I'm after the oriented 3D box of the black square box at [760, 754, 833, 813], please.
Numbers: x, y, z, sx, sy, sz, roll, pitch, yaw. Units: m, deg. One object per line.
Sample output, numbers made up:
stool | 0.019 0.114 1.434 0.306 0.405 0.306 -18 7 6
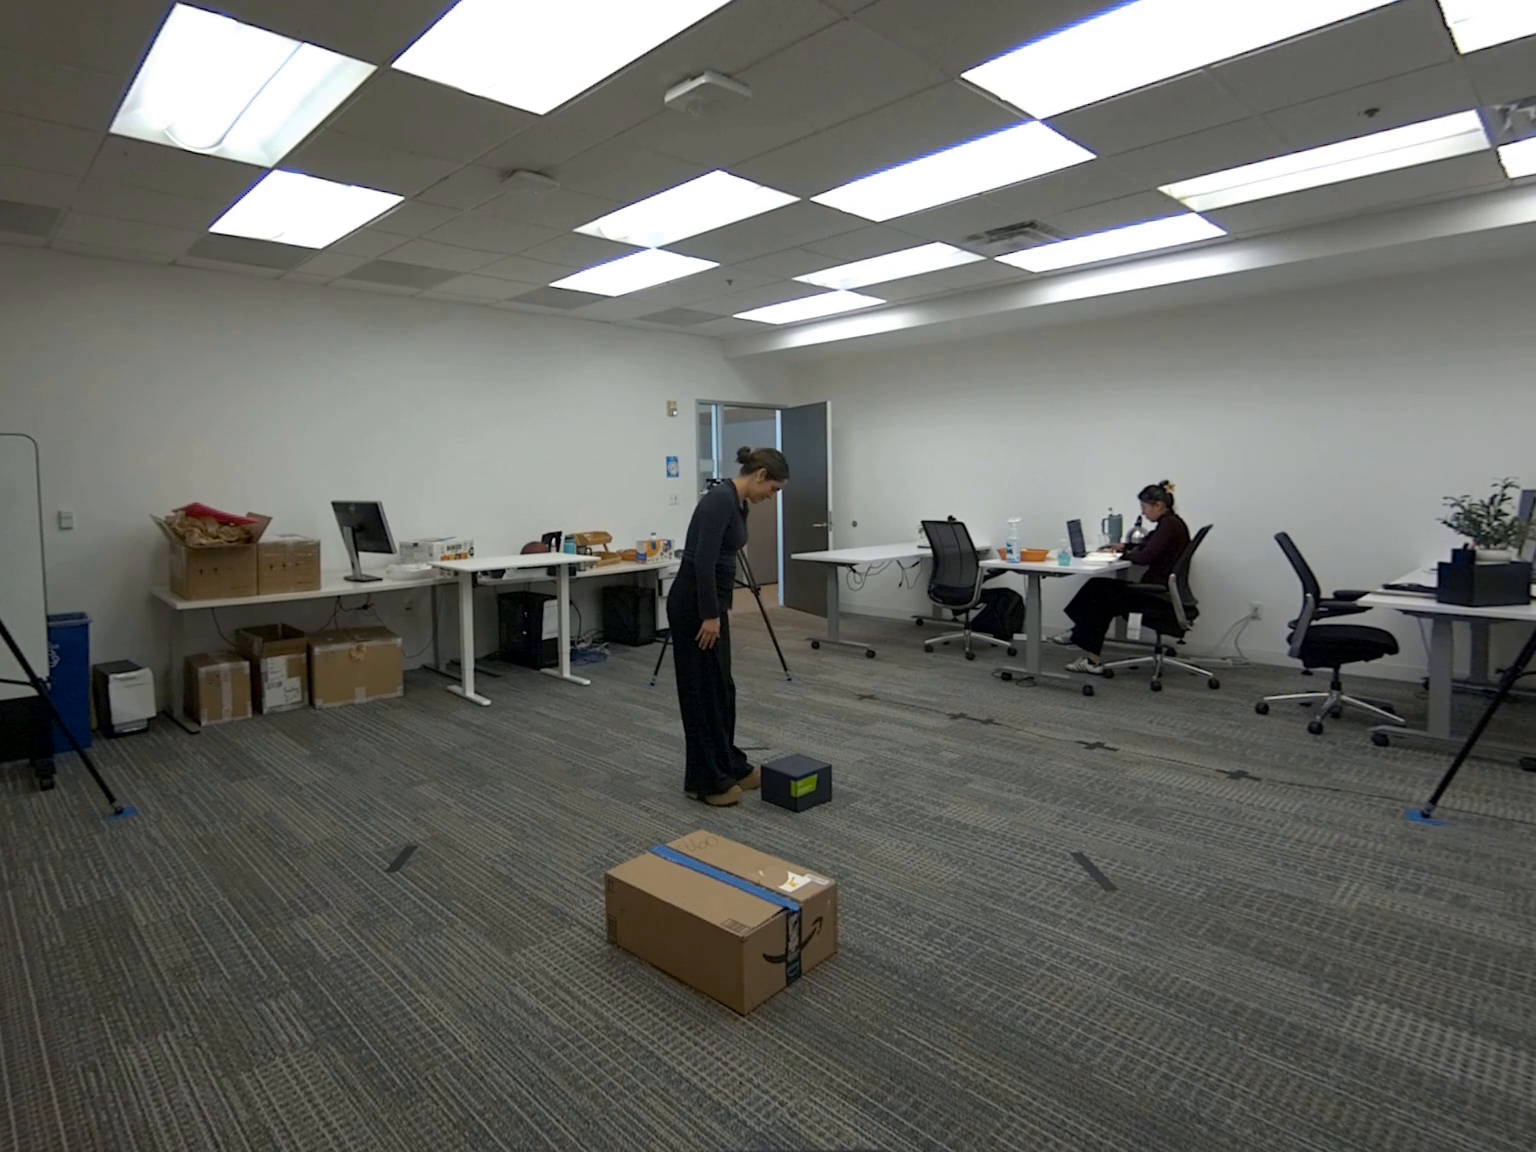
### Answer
black square box | 0.123 0.889 3.700 0.222 0.155 0.224 -6 7 -42
